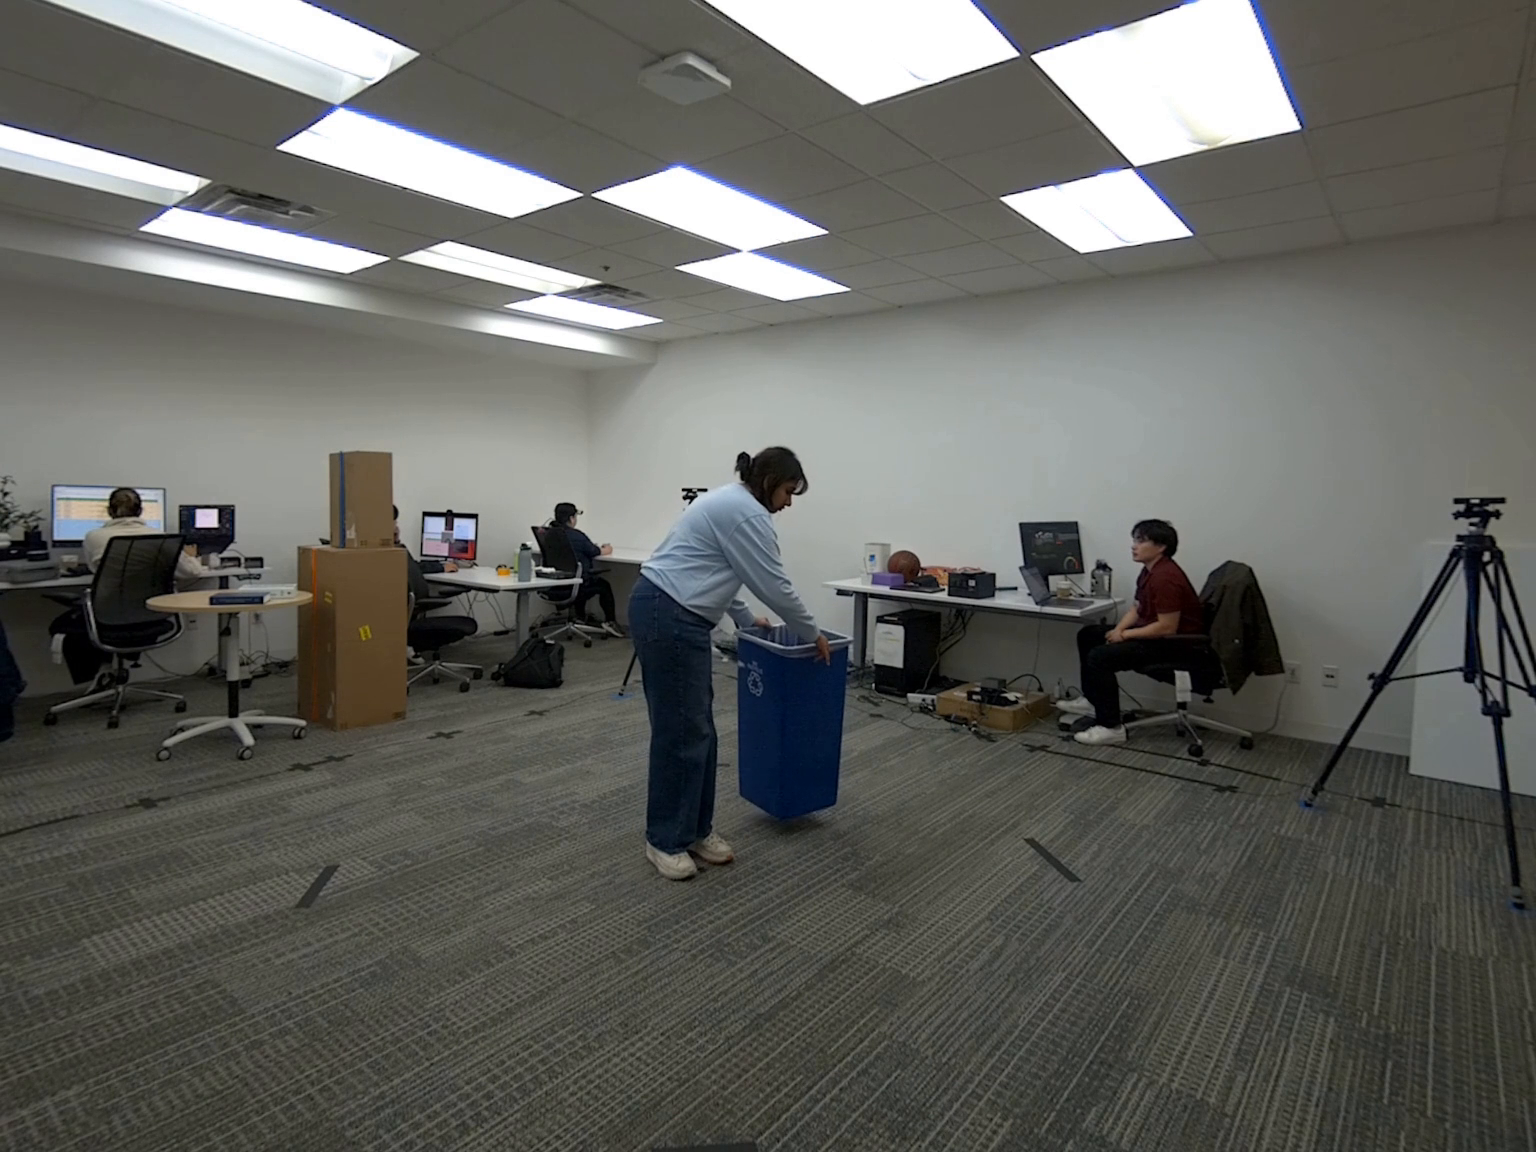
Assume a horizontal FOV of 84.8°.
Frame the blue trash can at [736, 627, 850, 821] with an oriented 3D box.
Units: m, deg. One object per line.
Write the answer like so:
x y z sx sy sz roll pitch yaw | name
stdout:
0.091 0.589 3.537 0.367 0.709 0.387 -4 8 -36 | blue trash can
